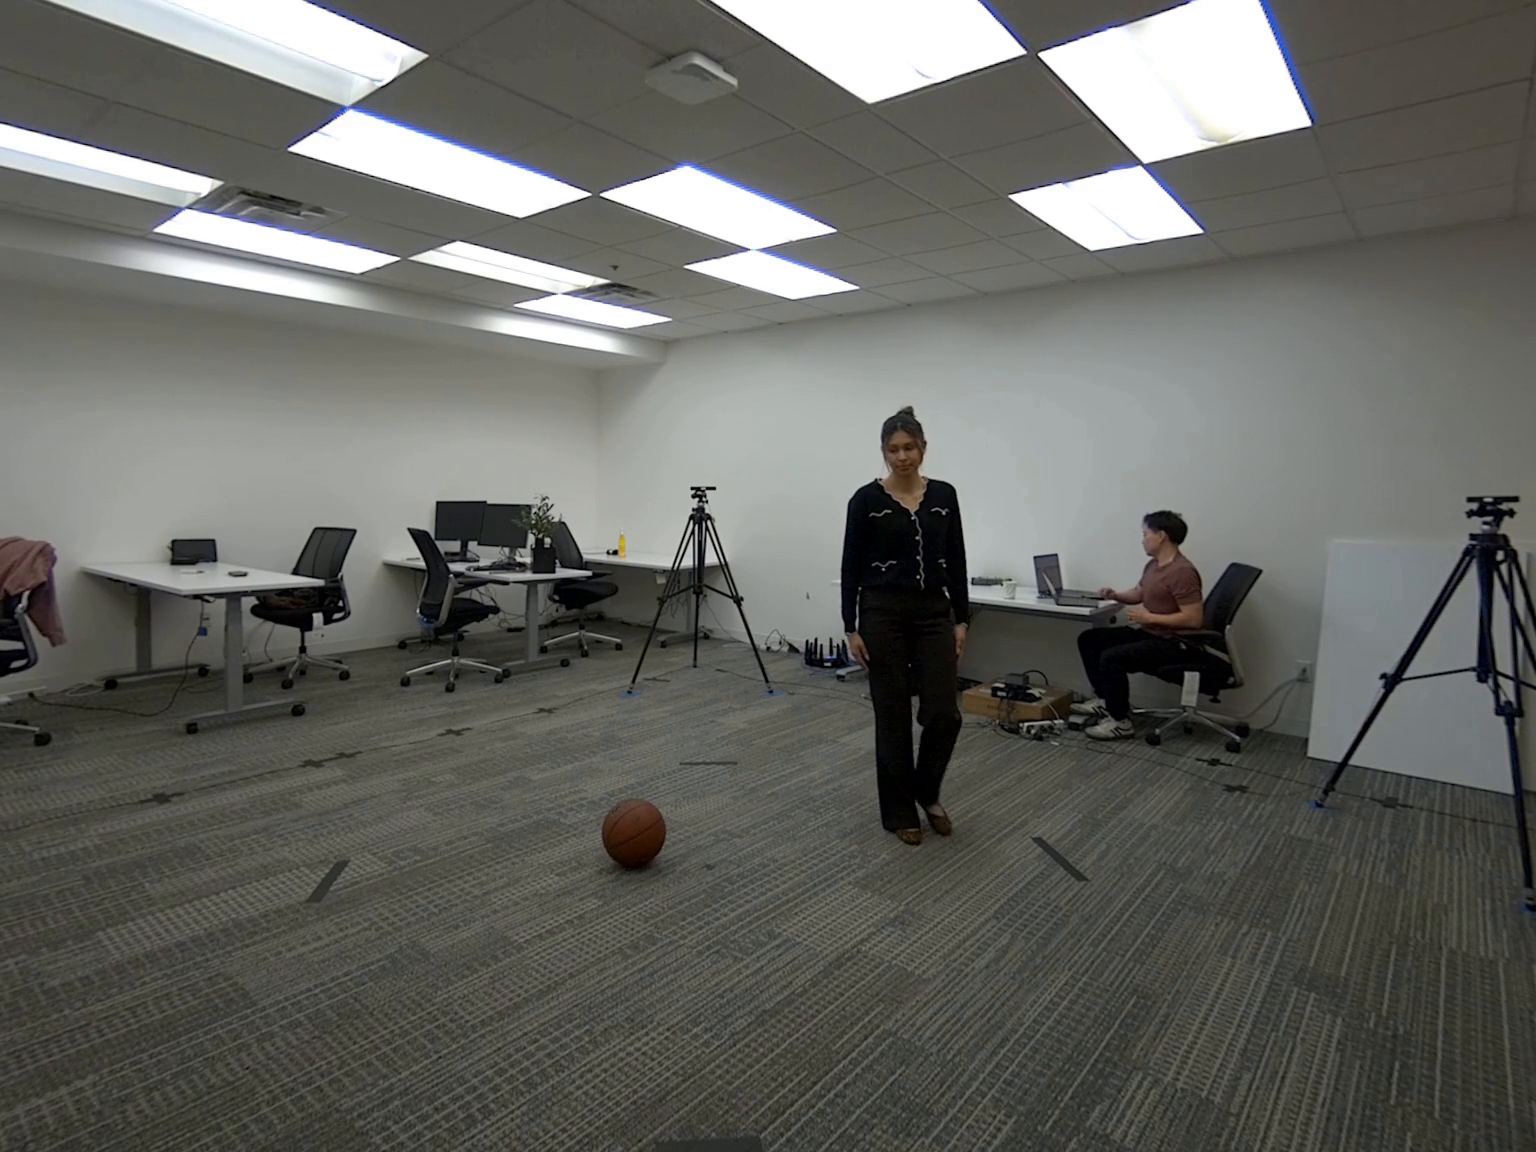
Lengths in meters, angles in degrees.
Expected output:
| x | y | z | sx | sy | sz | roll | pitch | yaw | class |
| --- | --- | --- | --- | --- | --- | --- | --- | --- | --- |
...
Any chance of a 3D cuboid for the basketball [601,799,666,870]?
| x | y | z | sx | sy | sz | roll | pitch | yaw | class |
| --- | --- | --- | --- | --- | --- | --- | --- | --- | --- |
| -0.502 | 0.939 | 3.131 | 0.235 | 0.235 | 0.237 | 1 | 4 | -2 | basketball |
